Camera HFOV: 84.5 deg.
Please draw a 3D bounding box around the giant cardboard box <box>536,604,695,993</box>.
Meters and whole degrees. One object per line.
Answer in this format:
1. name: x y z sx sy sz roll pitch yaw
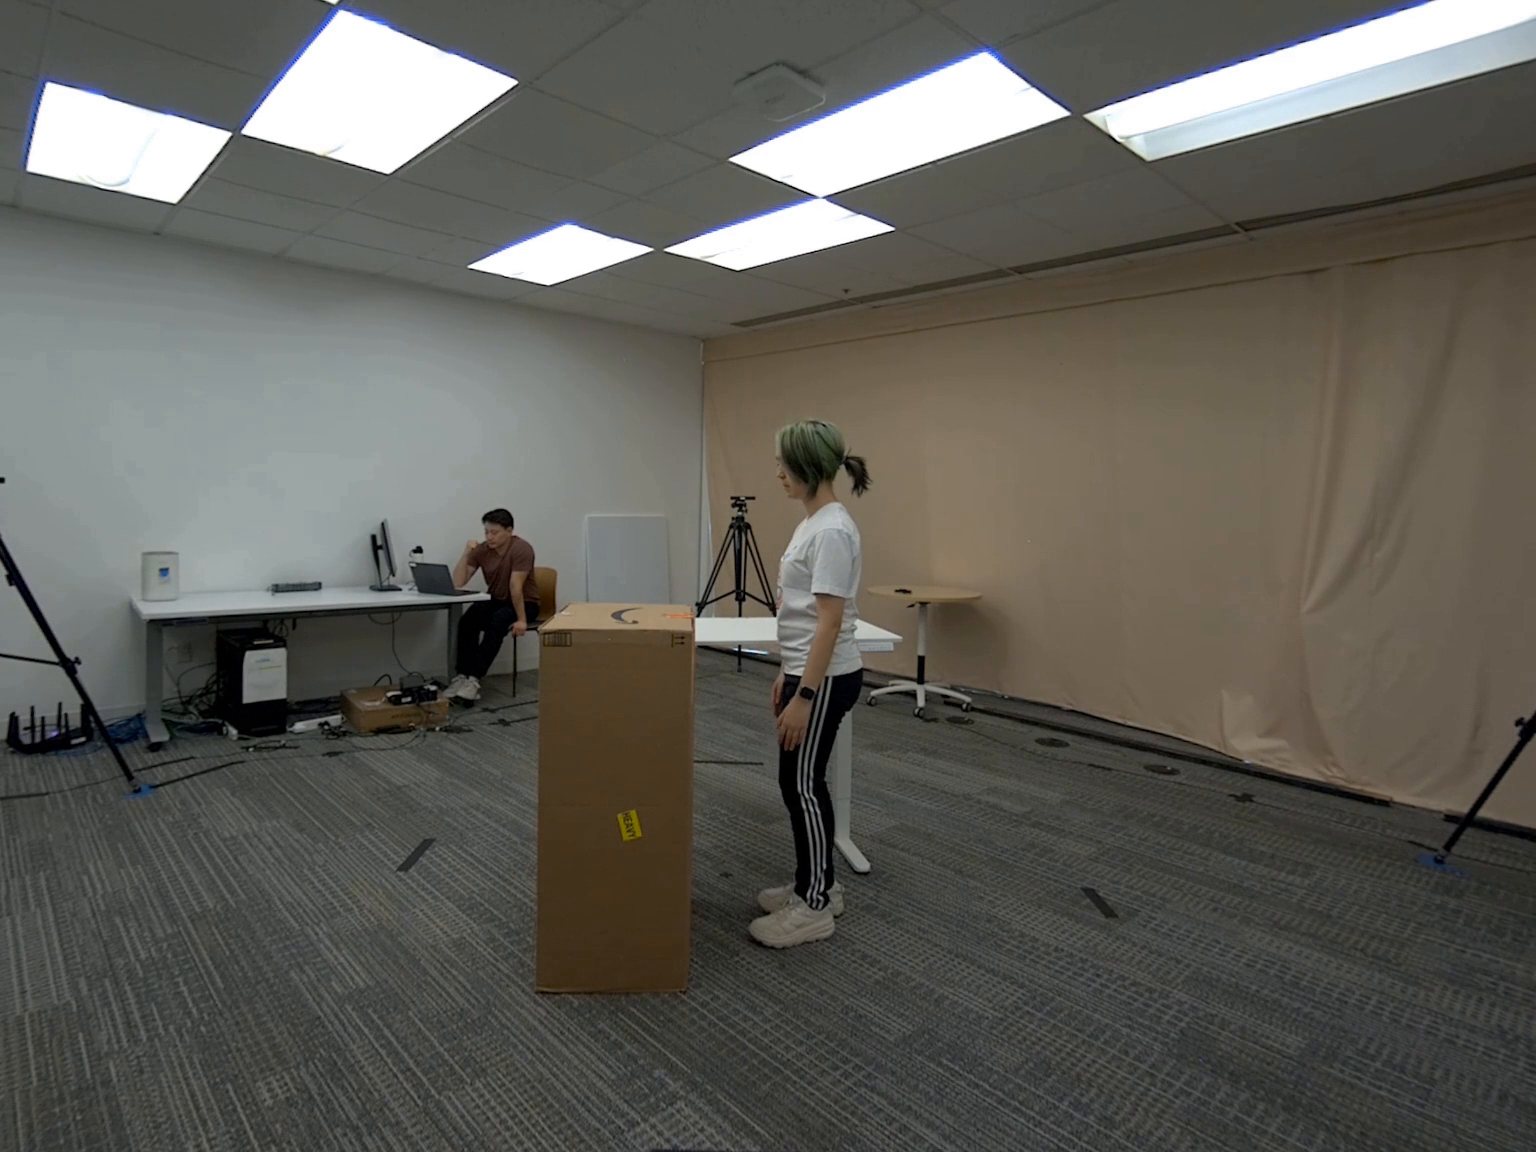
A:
1. giant cardboard box: -0.457 0.635 2.606 0.445 1.025 0.587 0 3 -5
